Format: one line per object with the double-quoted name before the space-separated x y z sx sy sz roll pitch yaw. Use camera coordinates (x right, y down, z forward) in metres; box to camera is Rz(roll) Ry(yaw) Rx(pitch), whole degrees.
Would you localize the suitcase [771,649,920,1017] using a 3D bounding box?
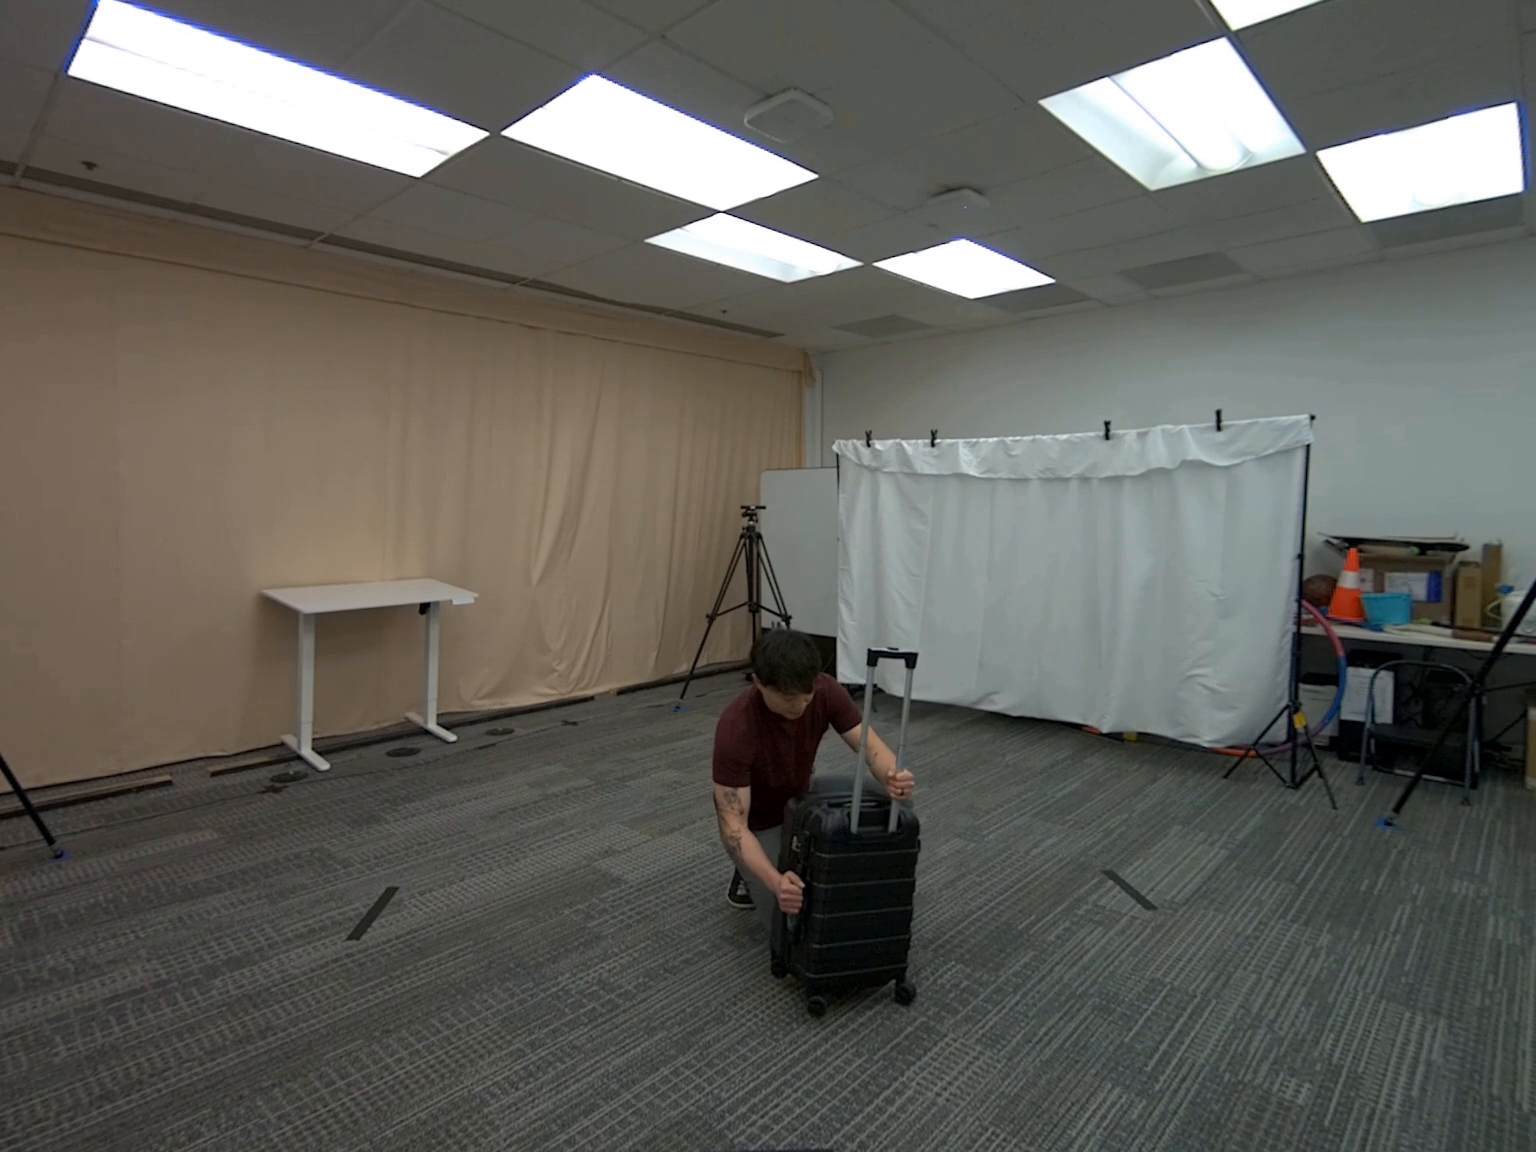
"suitcase" 0.237 0.690 2.412 0.375 0.979 0.263 4 -1 -23
